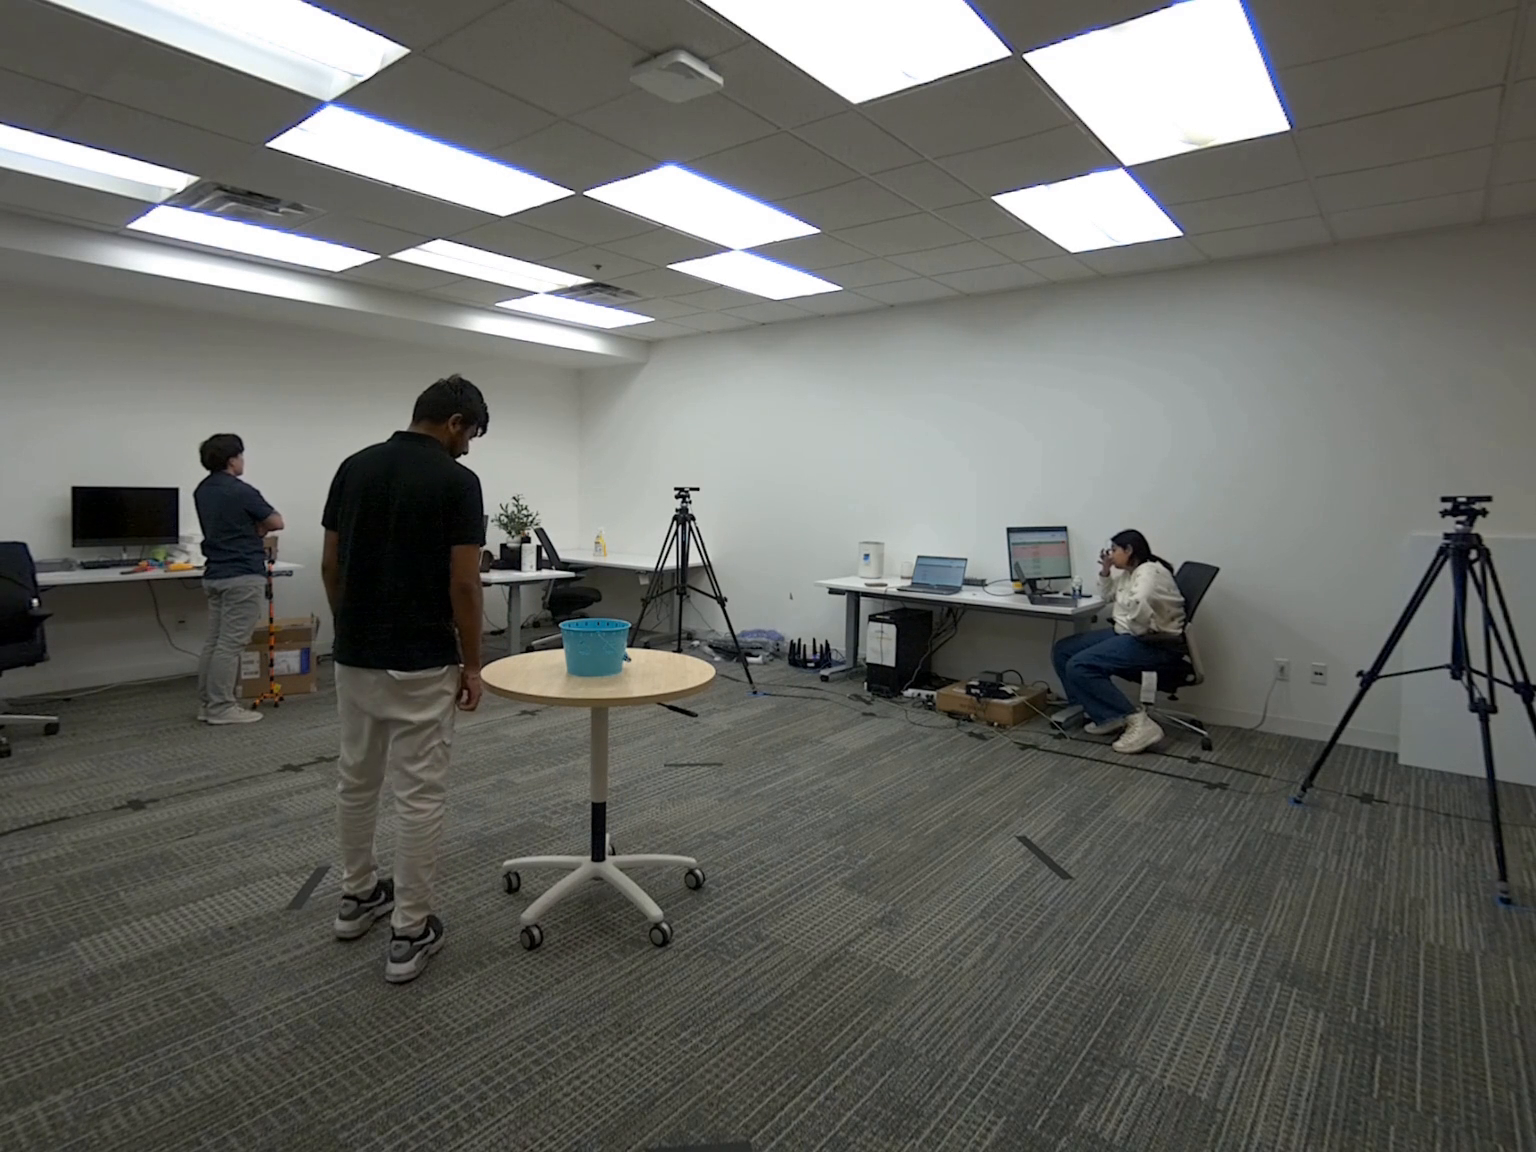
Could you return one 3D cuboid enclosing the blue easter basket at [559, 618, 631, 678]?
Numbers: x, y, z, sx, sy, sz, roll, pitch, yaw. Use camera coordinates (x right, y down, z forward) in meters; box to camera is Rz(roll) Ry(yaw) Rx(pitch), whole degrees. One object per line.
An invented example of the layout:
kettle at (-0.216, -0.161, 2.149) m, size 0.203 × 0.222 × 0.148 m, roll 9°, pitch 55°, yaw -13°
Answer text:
blue easter basket at (-0.582, 0.237, 2.791) m, size 0.243 × 0.155 × 0.245 m, roll 0°, pitch 7°, yaw -2°
